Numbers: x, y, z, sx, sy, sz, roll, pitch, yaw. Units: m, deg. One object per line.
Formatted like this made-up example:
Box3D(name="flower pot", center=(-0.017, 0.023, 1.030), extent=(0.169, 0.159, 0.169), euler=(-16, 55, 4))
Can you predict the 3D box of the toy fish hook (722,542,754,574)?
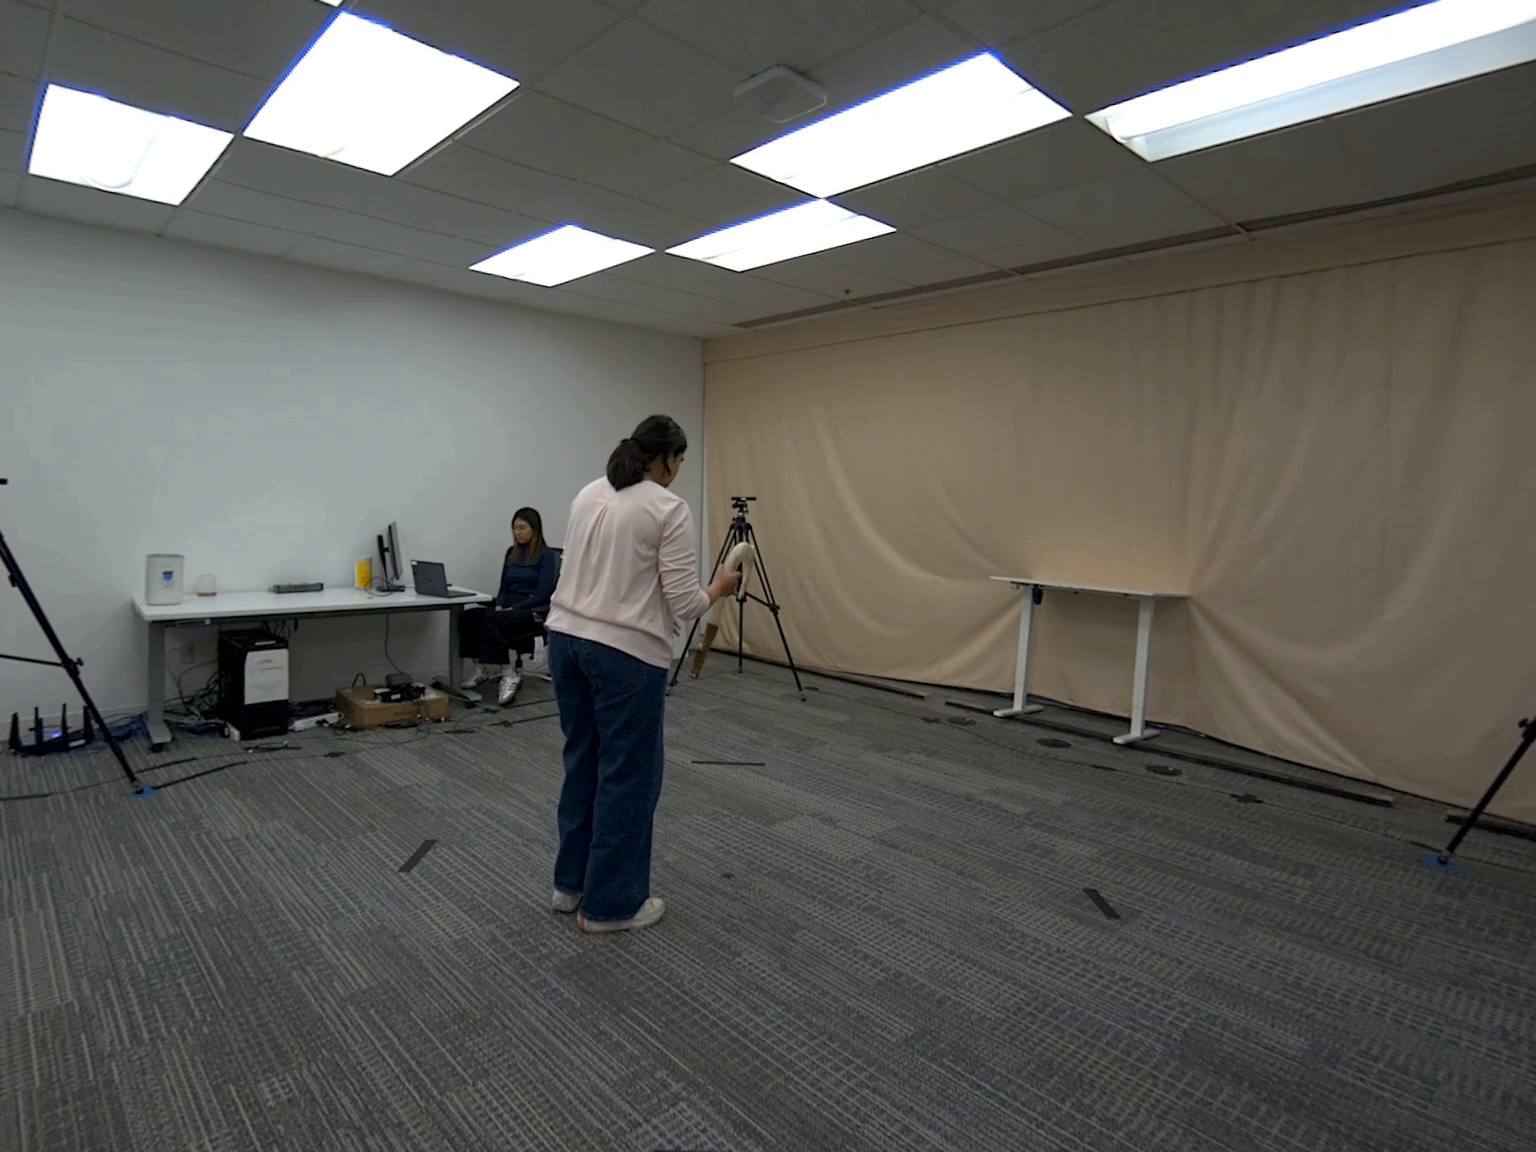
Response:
Box3D(name="toy fish hook", center=(-0.154, 0.136, 2.956), extent=(0.049, 0.507, 0.219), euler=(19, -4, 25))
